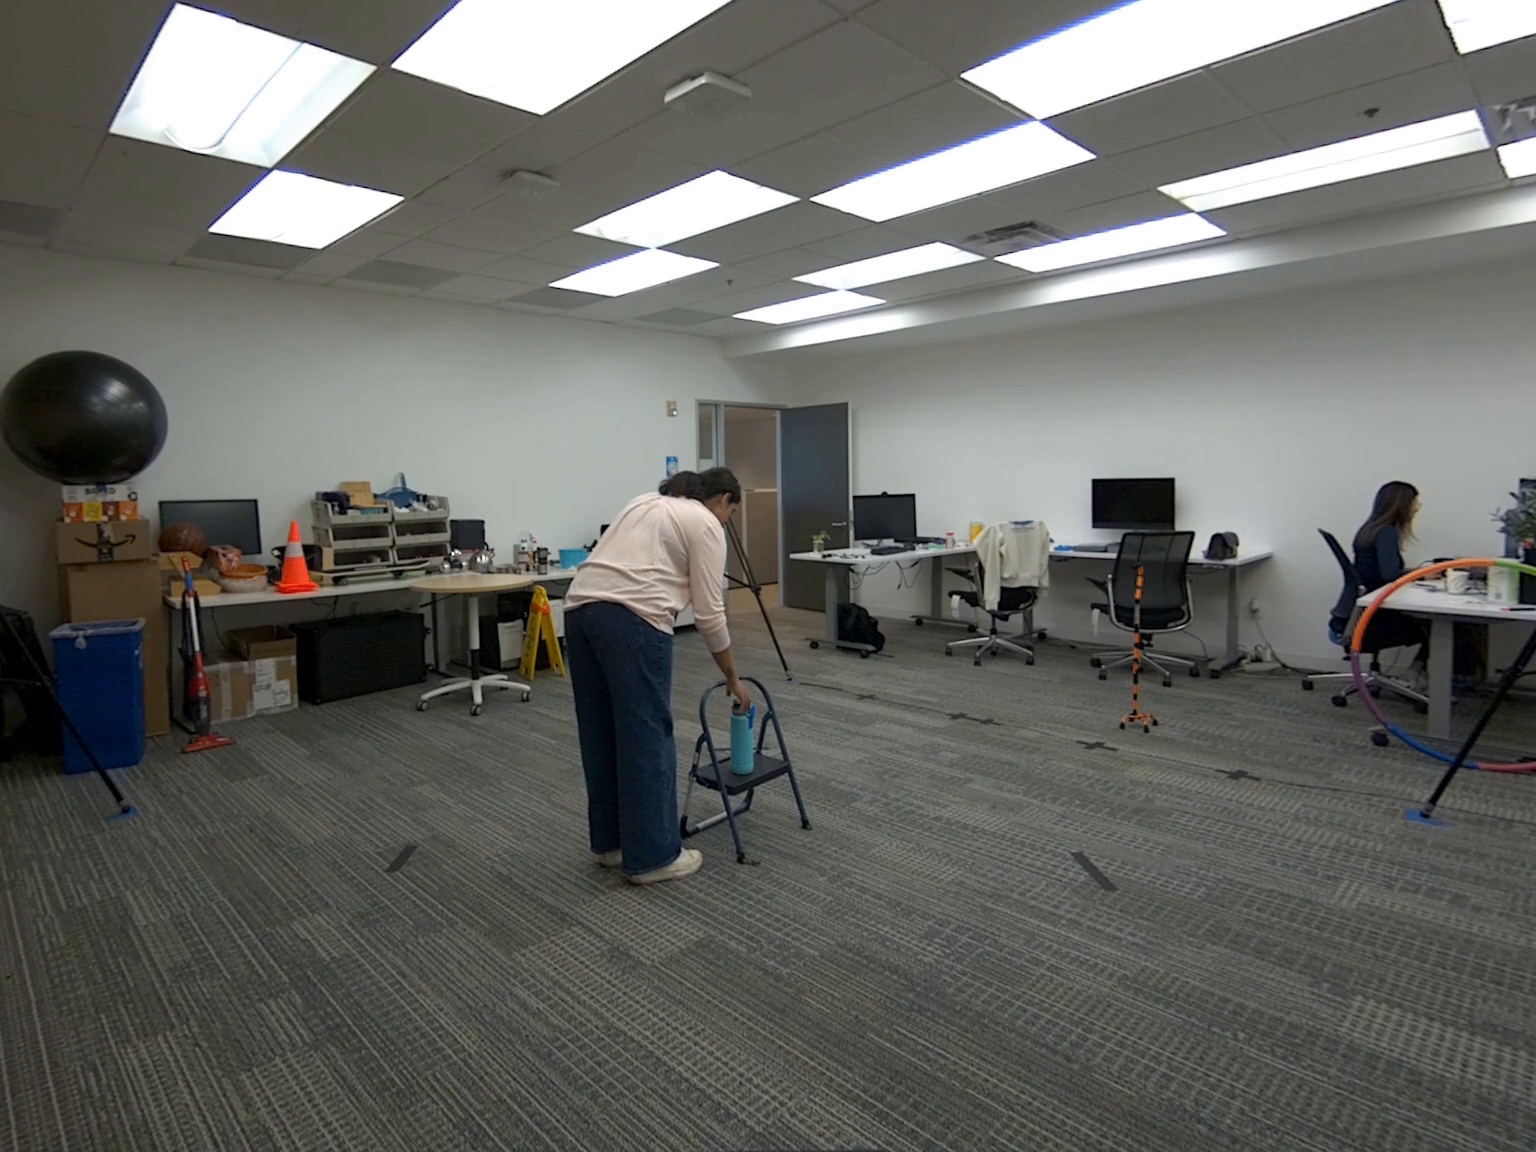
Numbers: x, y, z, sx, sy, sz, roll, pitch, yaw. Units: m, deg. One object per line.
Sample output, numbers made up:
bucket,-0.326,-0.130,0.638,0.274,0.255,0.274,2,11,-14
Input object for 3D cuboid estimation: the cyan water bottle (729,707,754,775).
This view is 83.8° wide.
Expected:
cyan water bottle,-0.099,0.622,3.318,0.092,0.282,0.093,2,6,-2
